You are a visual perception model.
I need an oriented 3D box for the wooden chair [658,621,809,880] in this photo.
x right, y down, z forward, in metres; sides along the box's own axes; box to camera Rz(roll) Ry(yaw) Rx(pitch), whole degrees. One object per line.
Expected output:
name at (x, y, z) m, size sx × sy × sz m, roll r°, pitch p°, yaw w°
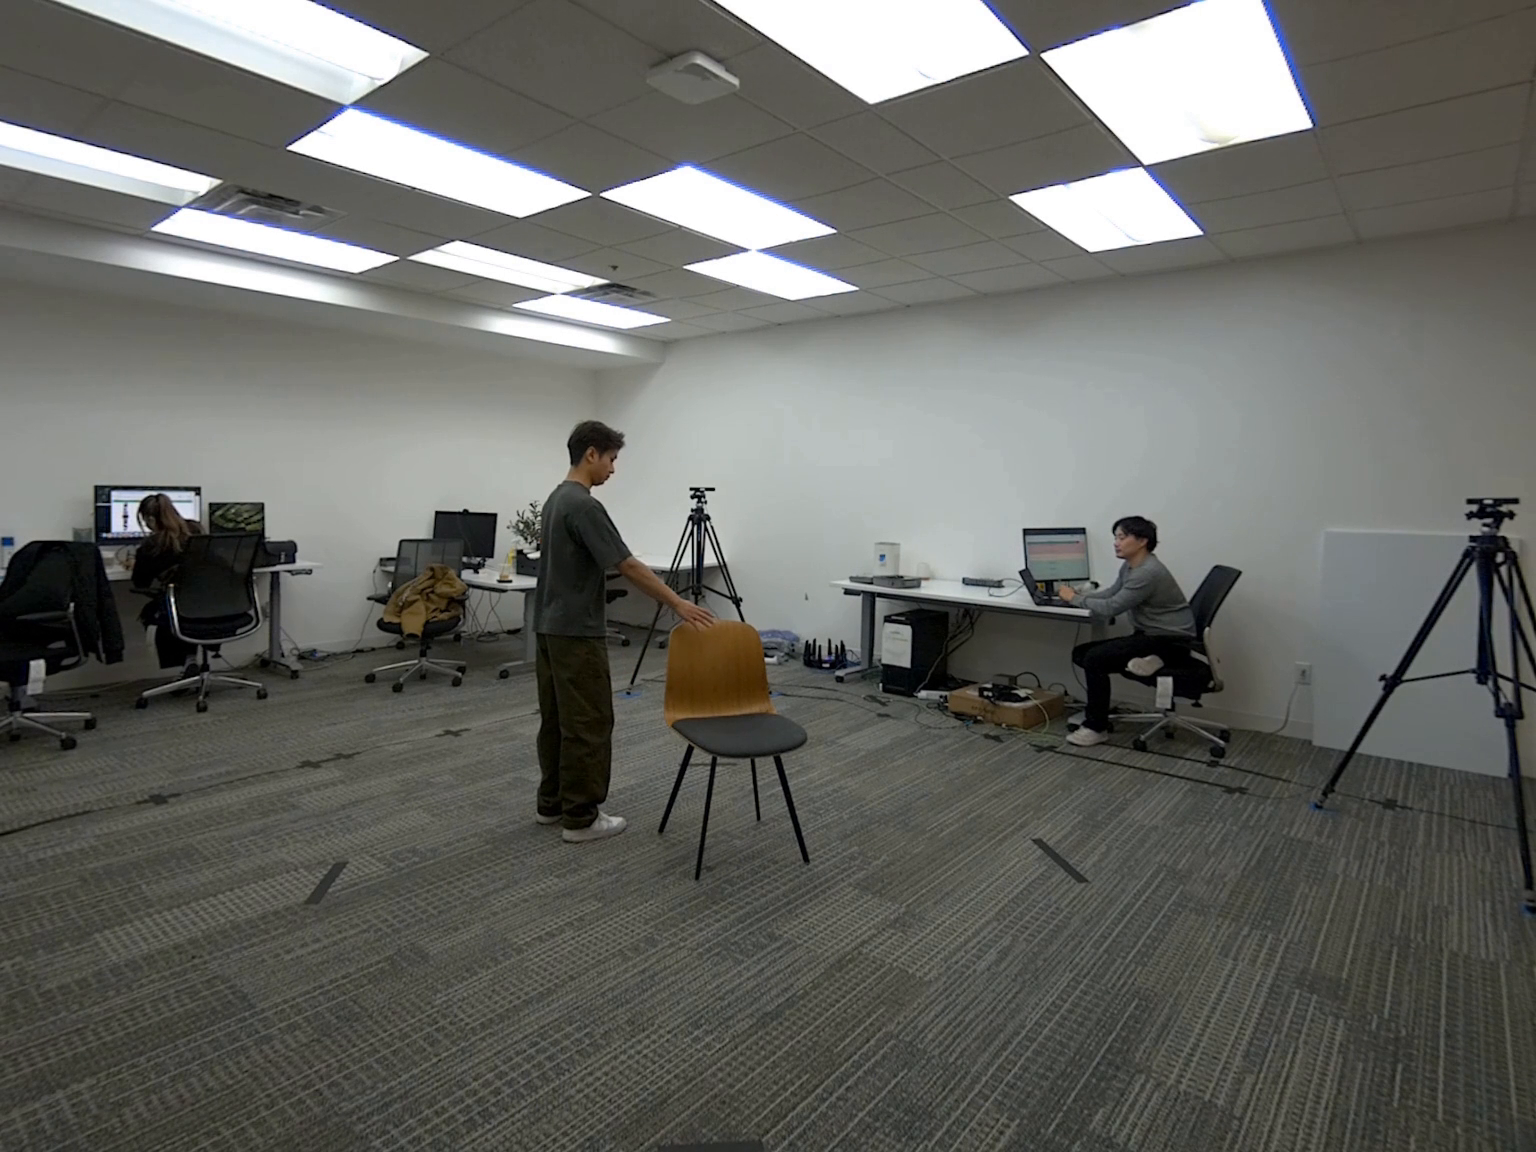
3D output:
wooden chair at (-0.139, 0.625, 3.265) m, size 0.467 × 0.879 × 0.534 m, roll 1°, pitch -1°, yaw -23°
